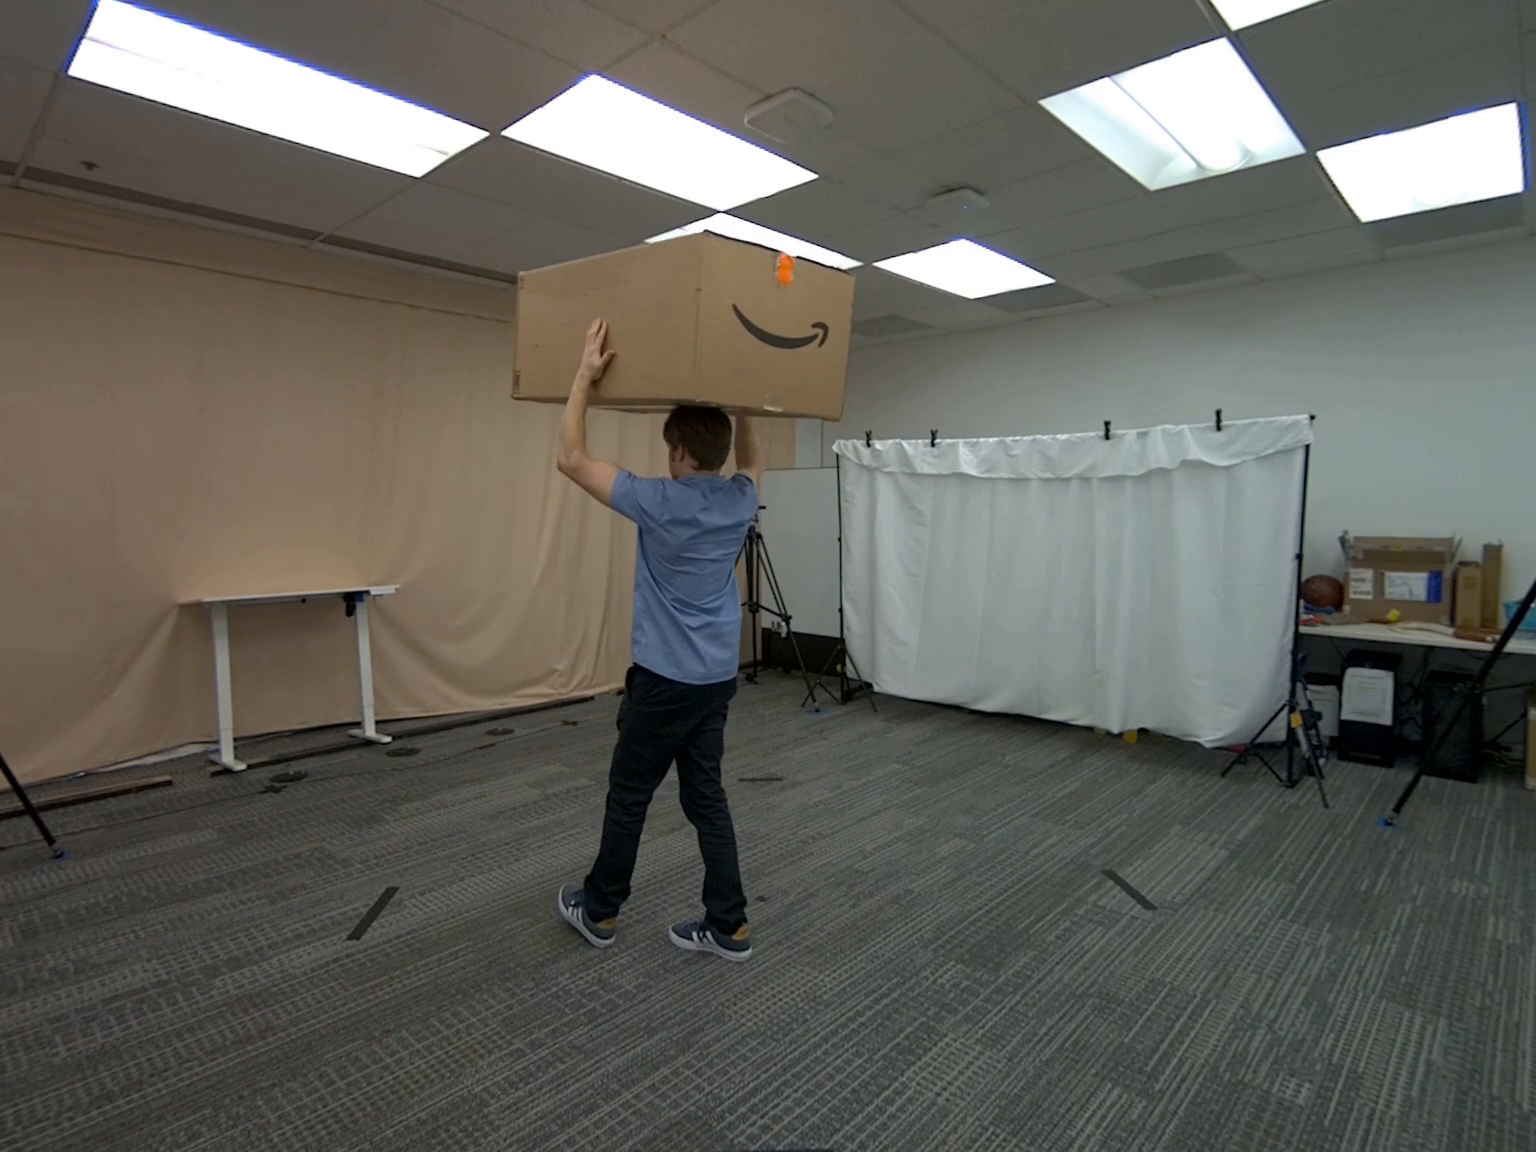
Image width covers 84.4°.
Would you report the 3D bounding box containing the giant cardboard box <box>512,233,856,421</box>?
[{"bbox_3d":[-0.311,-0.743,2.671,0.559,0.424,1.062,-1,10,-42],"label":"giant cardboard box"}]
